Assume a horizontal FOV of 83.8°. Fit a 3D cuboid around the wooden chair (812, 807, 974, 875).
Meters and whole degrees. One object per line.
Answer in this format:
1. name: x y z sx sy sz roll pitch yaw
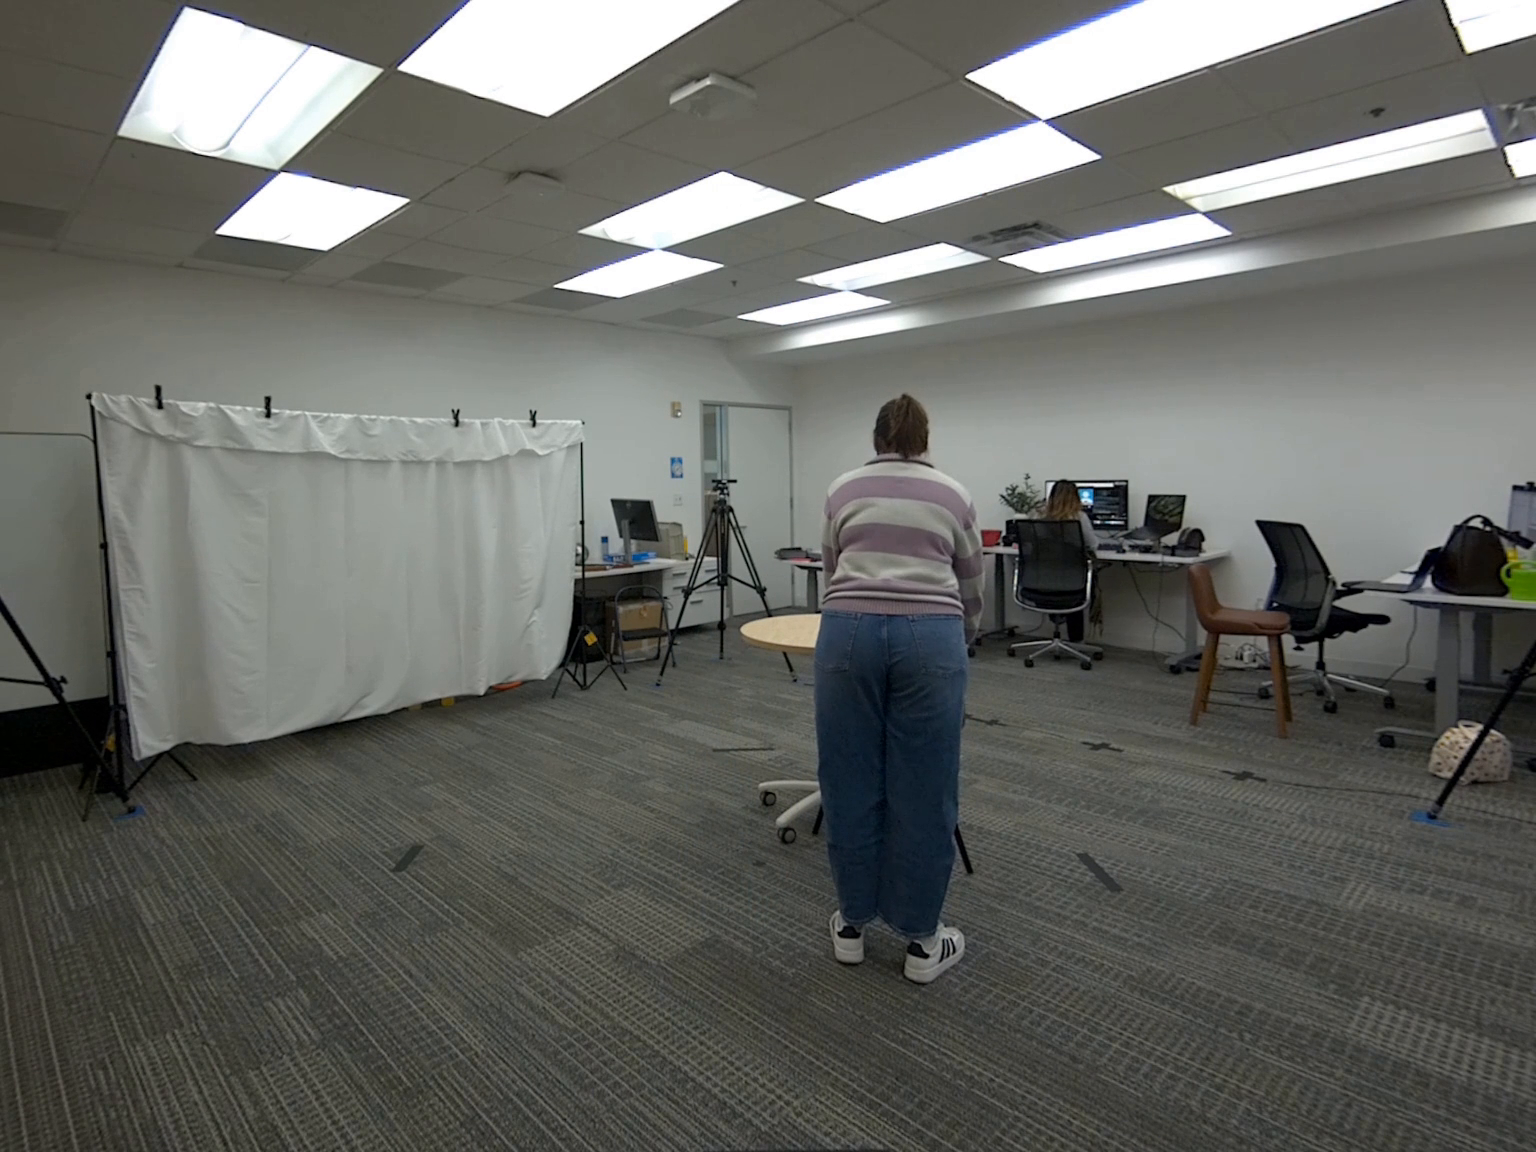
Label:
1. wooden chair: 0.445 0.605 3.156 0.472 0.871 0.533 -2 8 -13
